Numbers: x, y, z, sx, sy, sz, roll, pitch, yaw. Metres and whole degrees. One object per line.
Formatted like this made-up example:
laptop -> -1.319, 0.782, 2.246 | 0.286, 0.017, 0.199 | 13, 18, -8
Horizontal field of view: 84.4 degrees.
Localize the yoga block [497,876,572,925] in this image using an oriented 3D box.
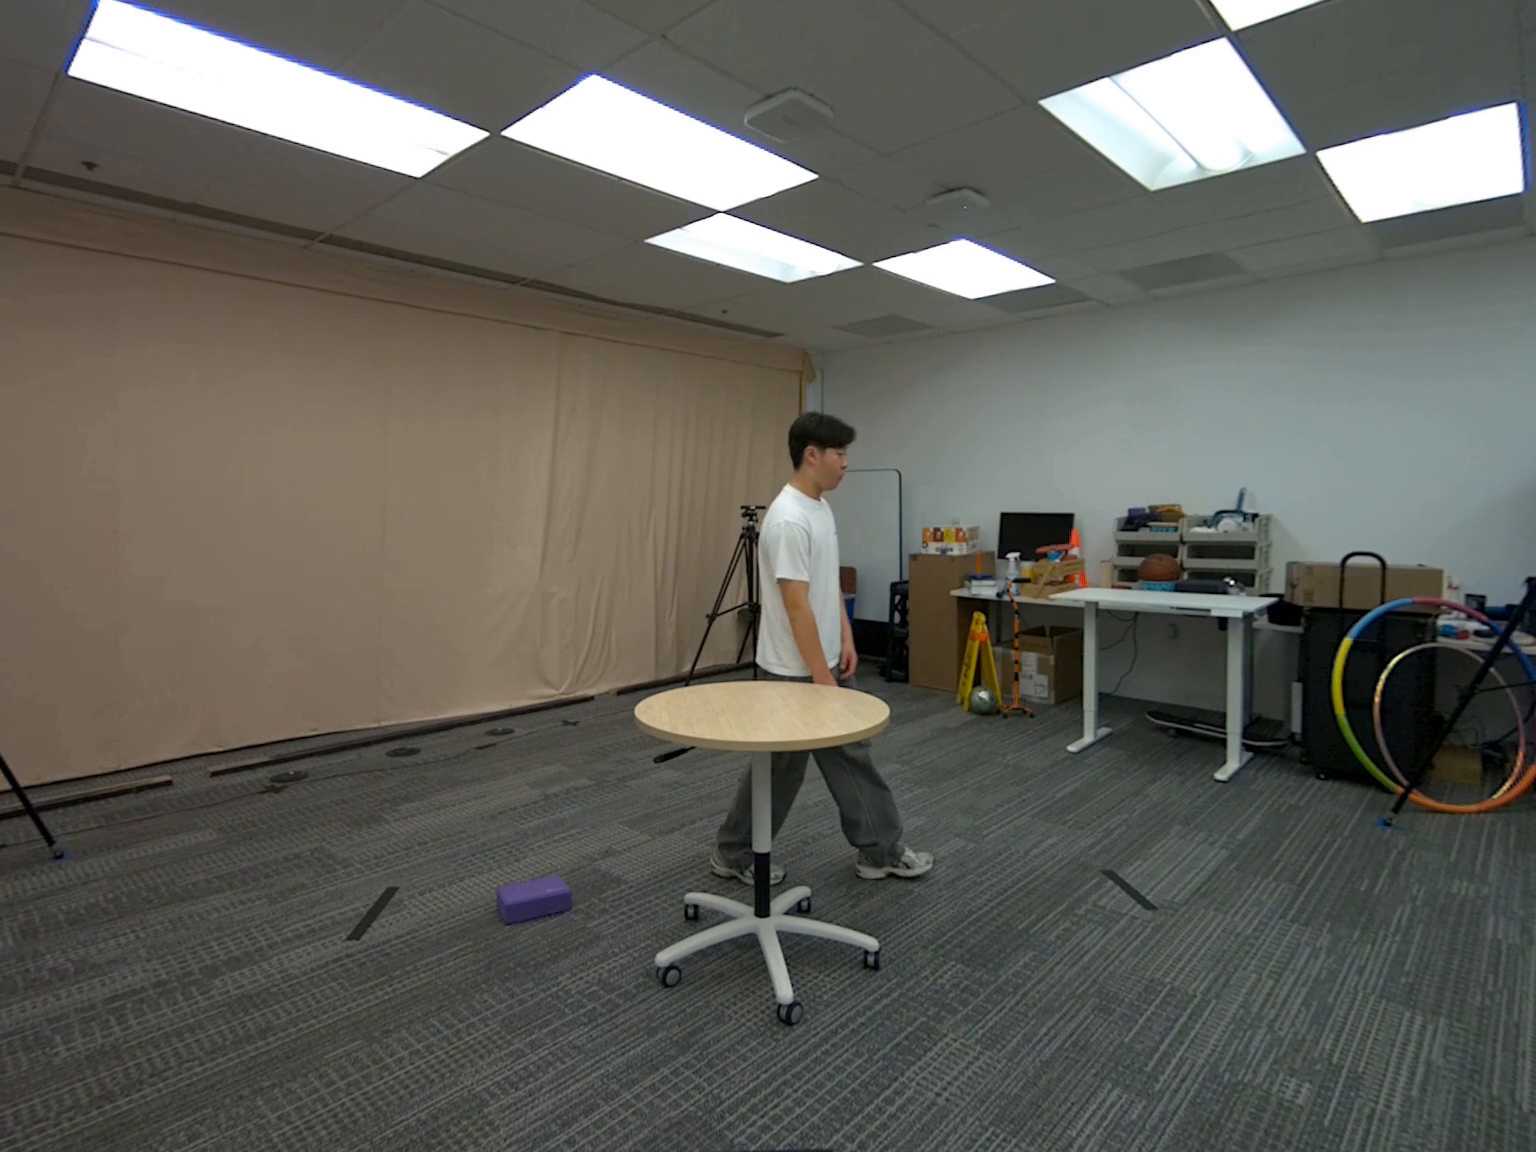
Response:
yoga block -> -0.806, 1.120, 2.911 | 0.223, 0.076, 0.153 | -3, 5, -28
